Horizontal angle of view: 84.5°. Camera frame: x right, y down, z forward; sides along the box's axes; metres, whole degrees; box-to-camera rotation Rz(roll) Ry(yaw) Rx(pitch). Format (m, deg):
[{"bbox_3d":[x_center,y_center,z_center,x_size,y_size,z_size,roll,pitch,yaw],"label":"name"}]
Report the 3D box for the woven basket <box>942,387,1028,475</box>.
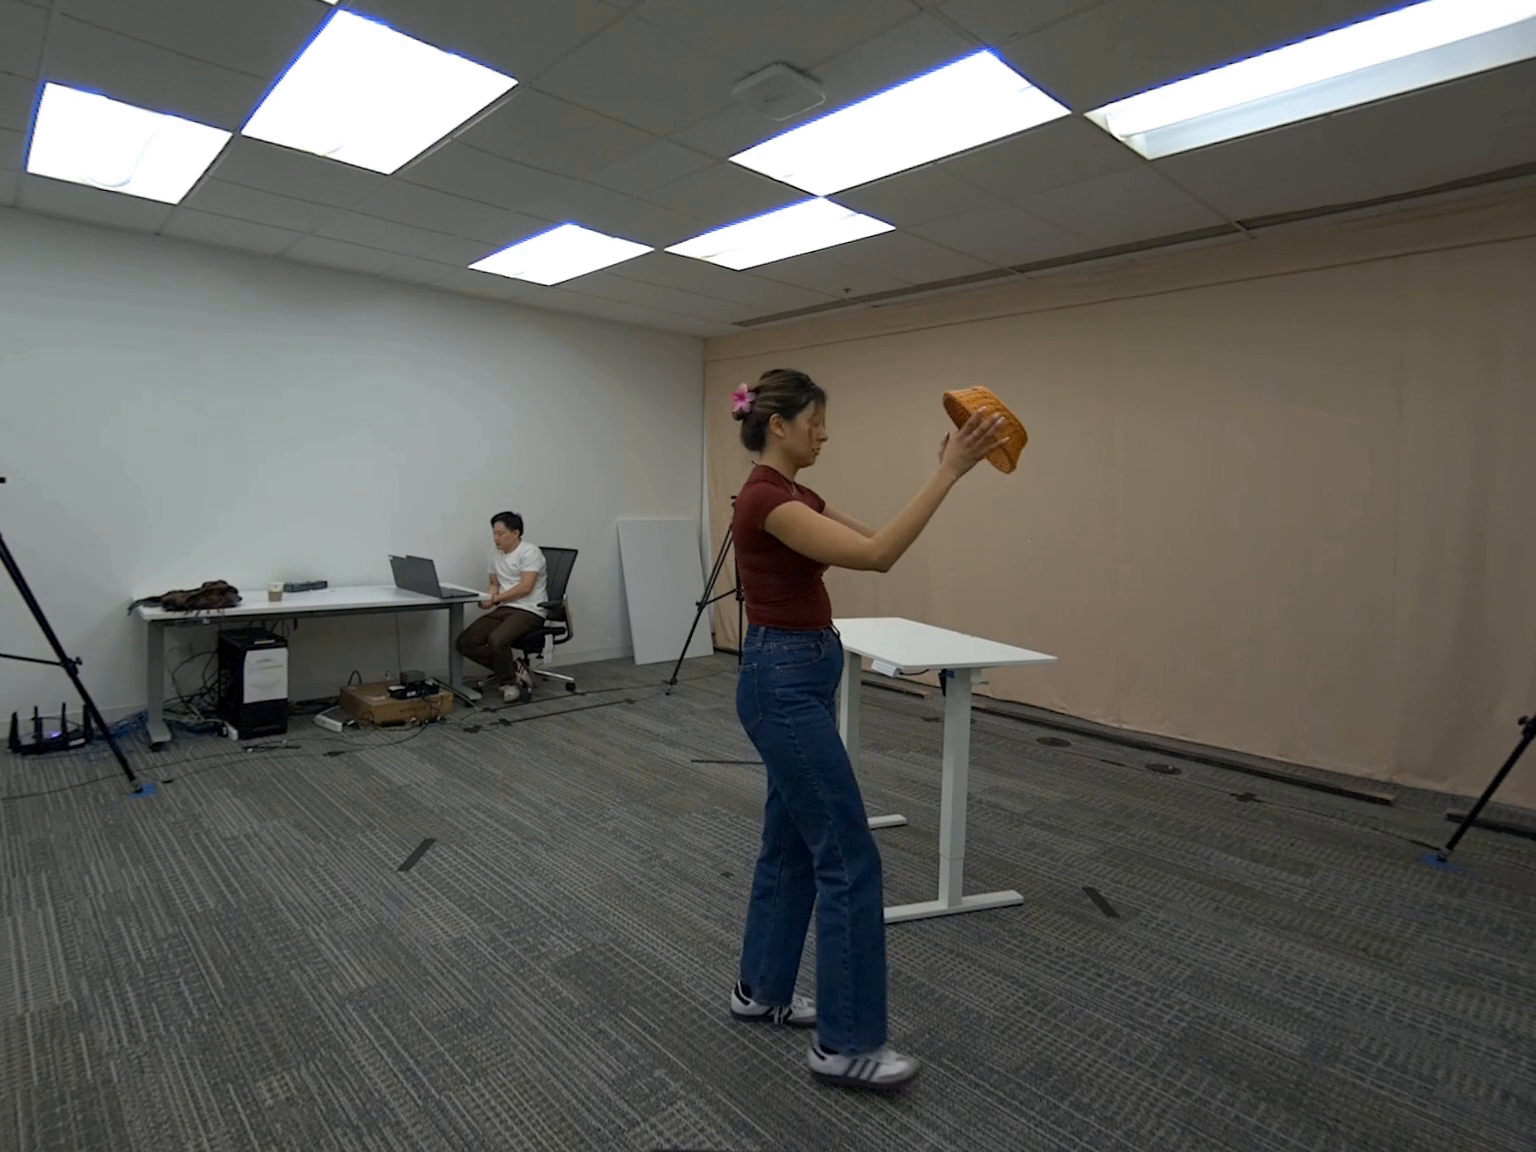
[{"bbox_3d":[0.530,-0.366,2.039,0.073,0.254,0.348,-42,-4,9],"label":"woven basket"}]
